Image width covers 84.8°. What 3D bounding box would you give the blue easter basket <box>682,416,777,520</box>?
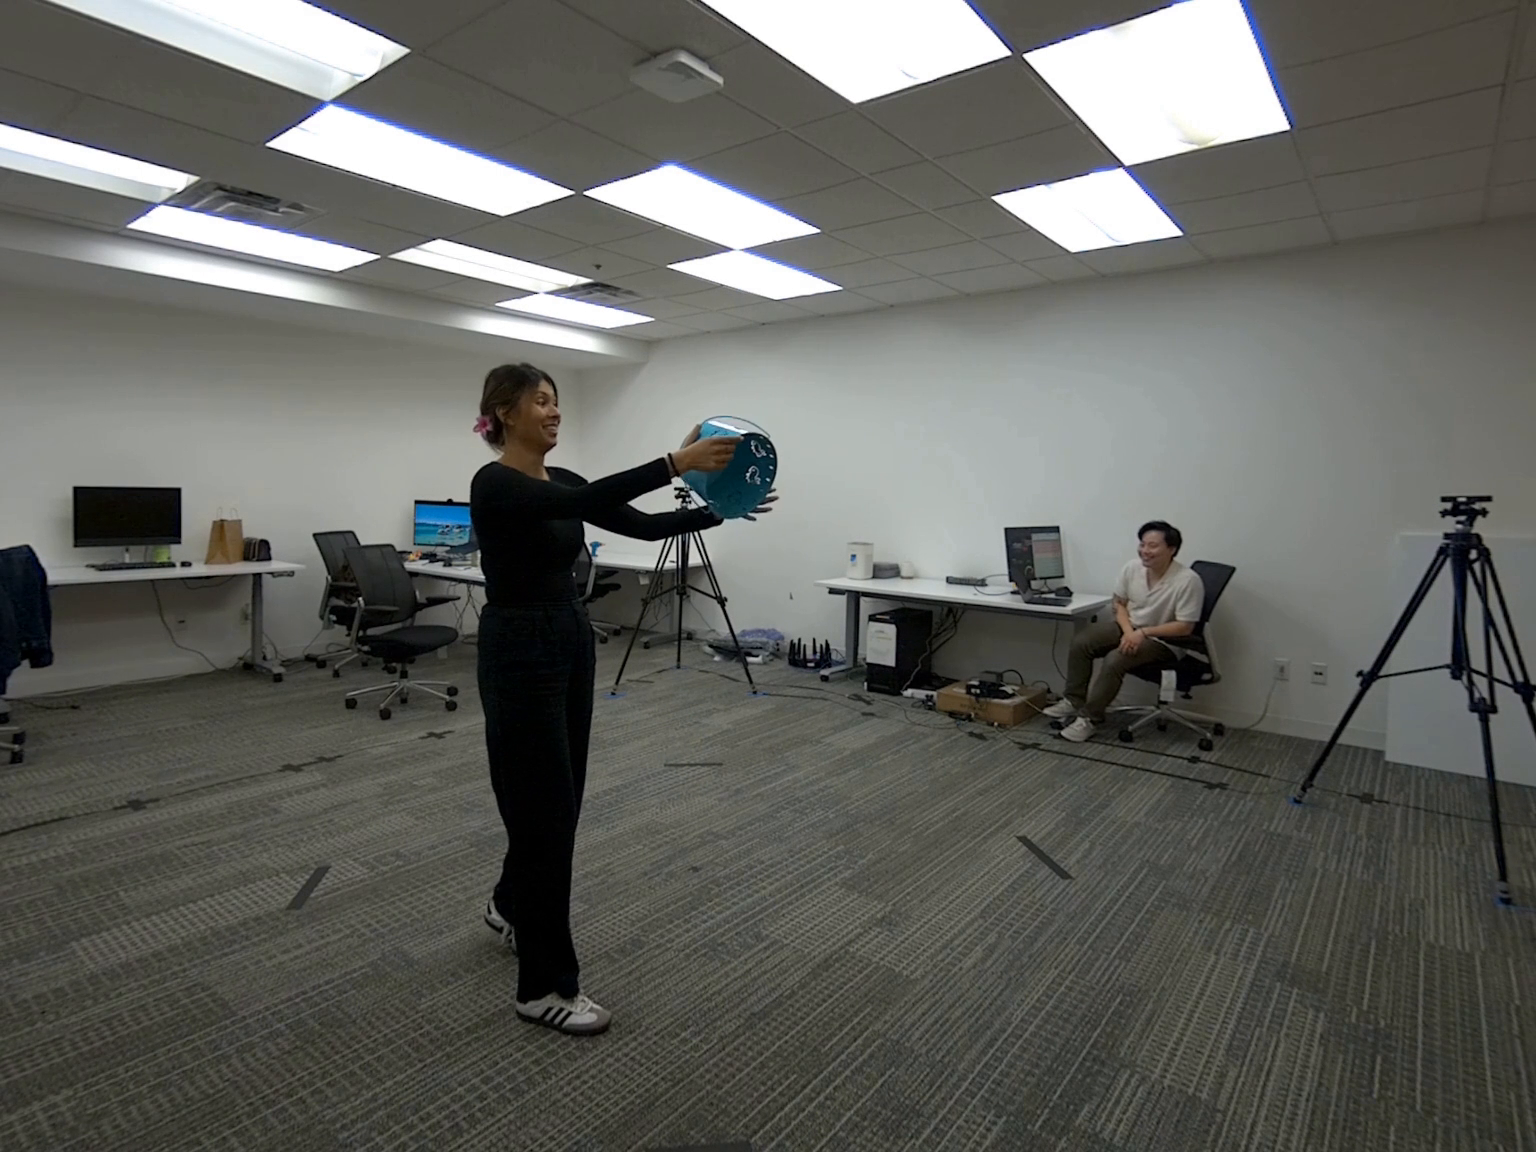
[{"bbox_3d":[-0.122,-0.279,2.132,0.236,0.241,0.162,-3,27,-42],"label":"blue easter basket"}]
